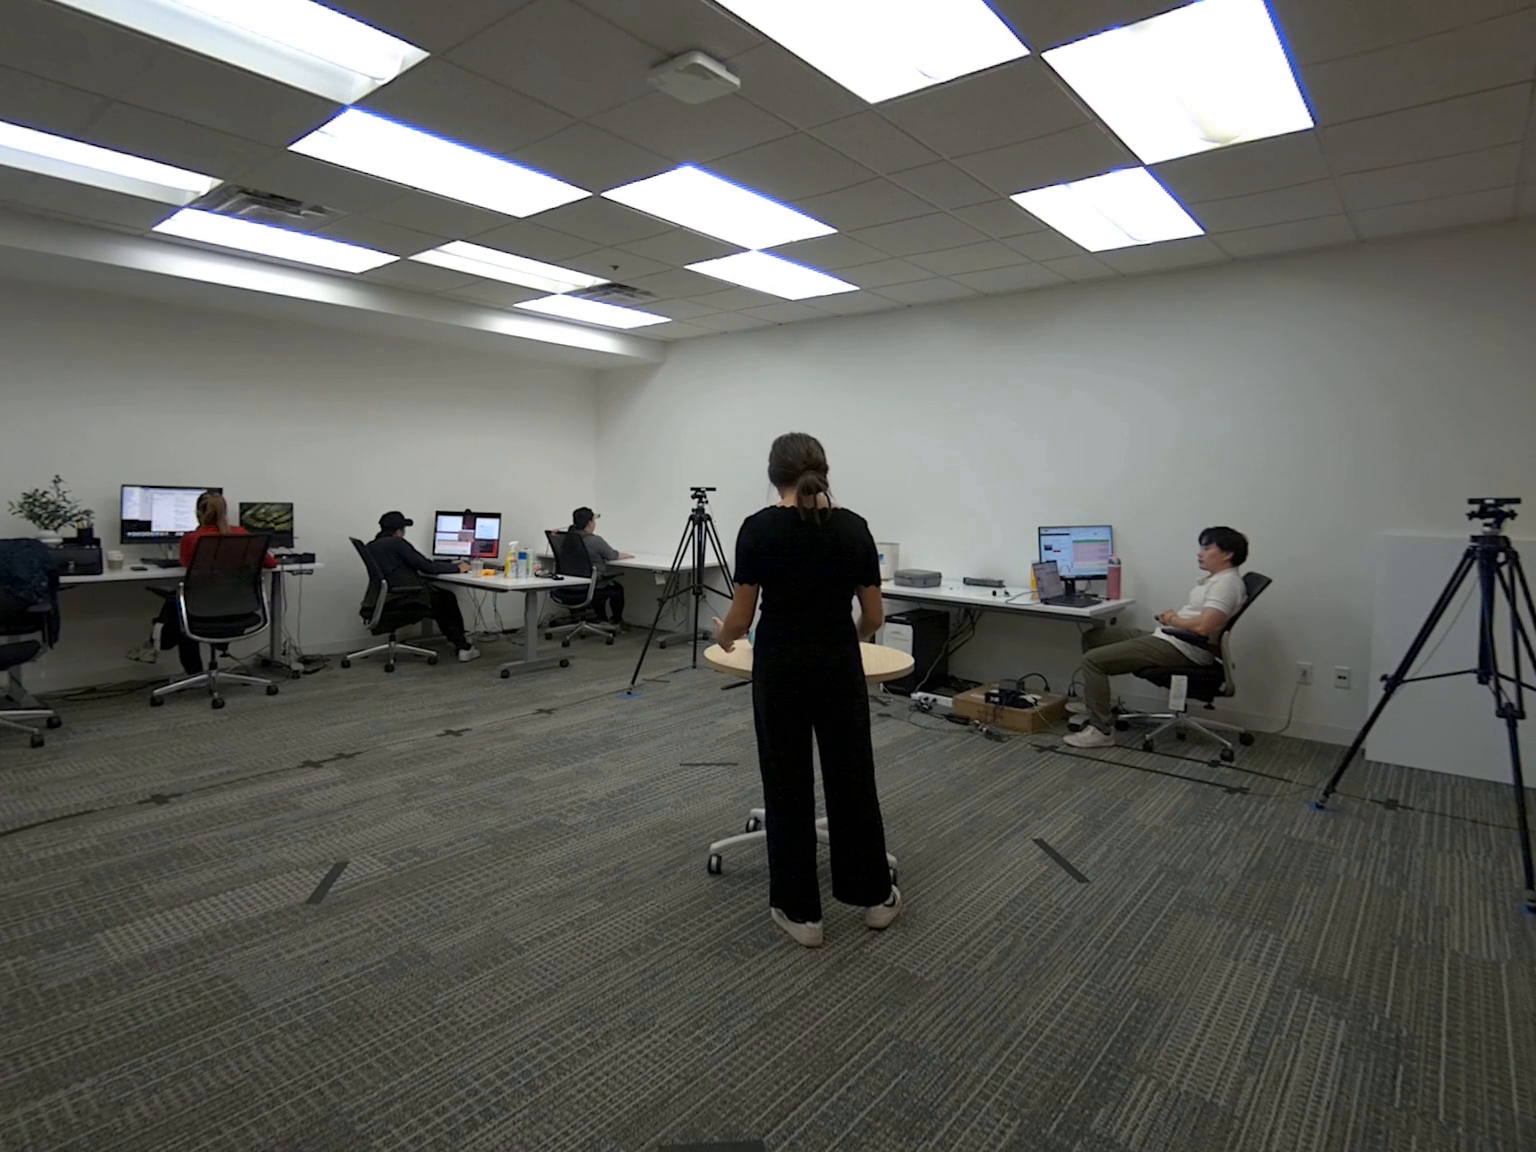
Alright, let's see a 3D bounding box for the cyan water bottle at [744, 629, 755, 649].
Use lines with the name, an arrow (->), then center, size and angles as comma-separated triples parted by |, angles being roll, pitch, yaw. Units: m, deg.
cyan water bottle -> -0.009, 0.239, 3.099 | 0.091, 0.092, 0.289 | 0, 5, -17
